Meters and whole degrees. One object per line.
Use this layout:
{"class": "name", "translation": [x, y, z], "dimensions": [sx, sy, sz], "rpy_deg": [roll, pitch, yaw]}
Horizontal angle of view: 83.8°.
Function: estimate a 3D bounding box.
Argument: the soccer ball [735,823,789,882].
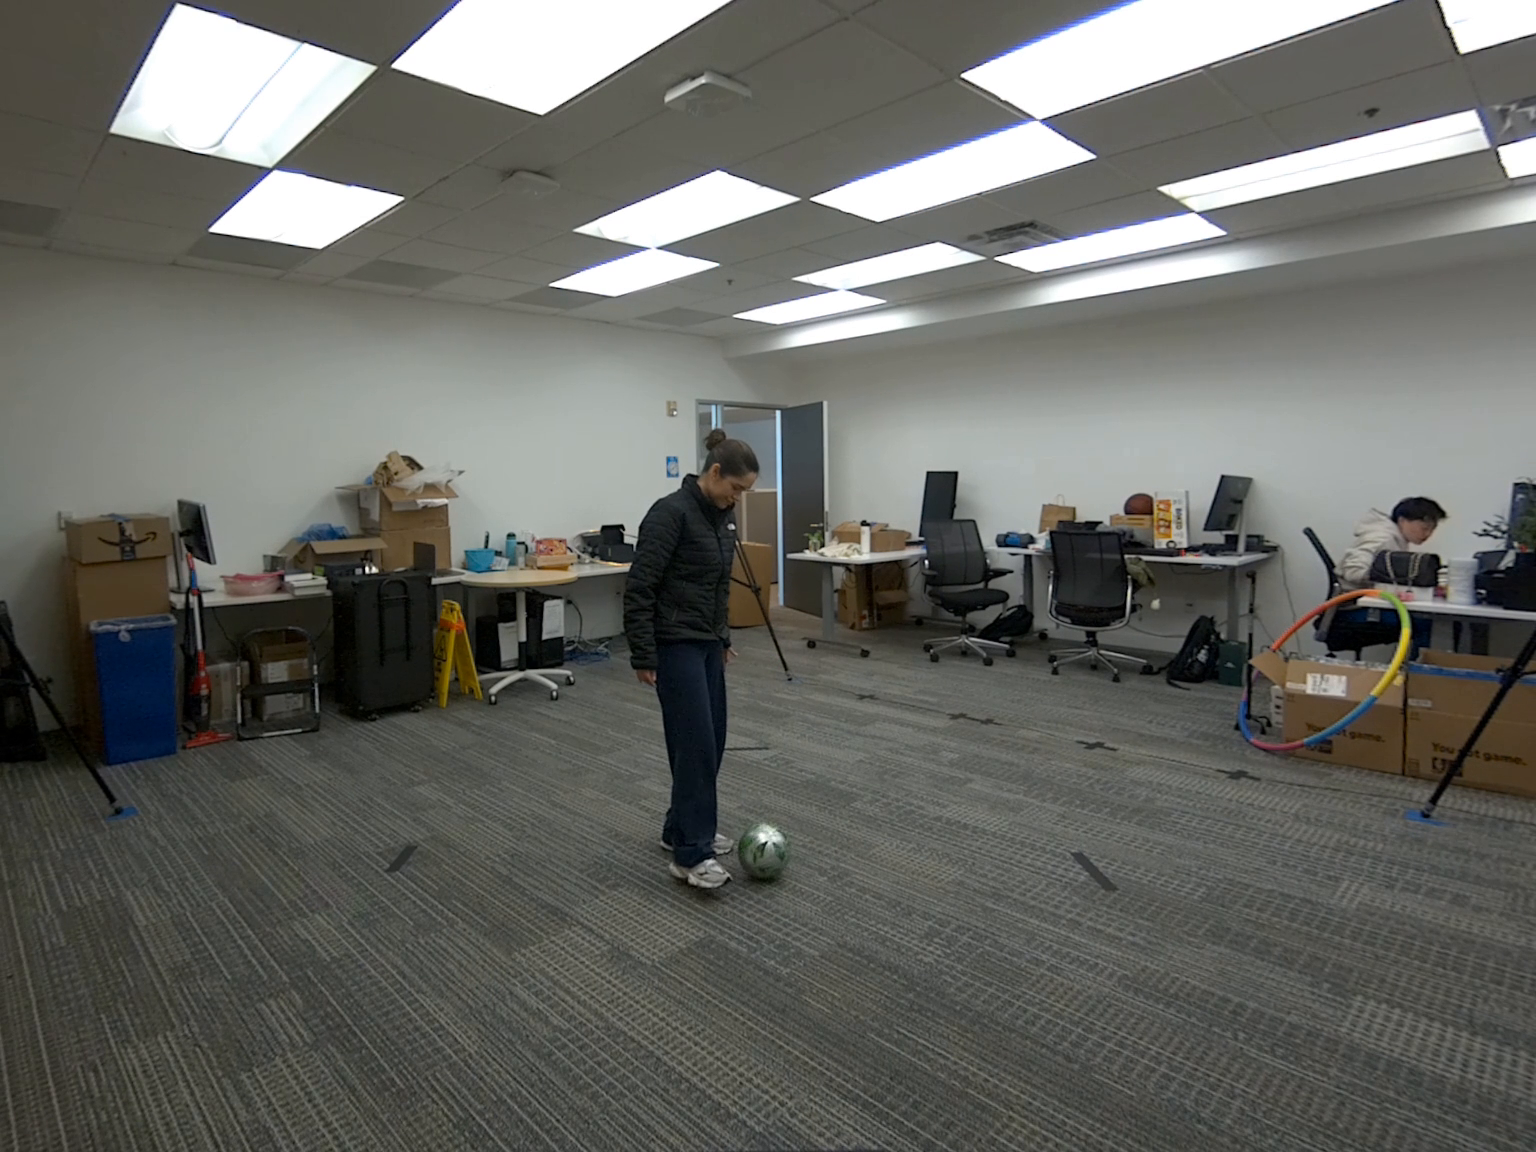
{"class": "soccer ball", "translation": [-0.014, 0.957, 2.987], "dimensions": [0.187, 0.187, 0.188], "rpy_deg": [-1, 5, -2]}
